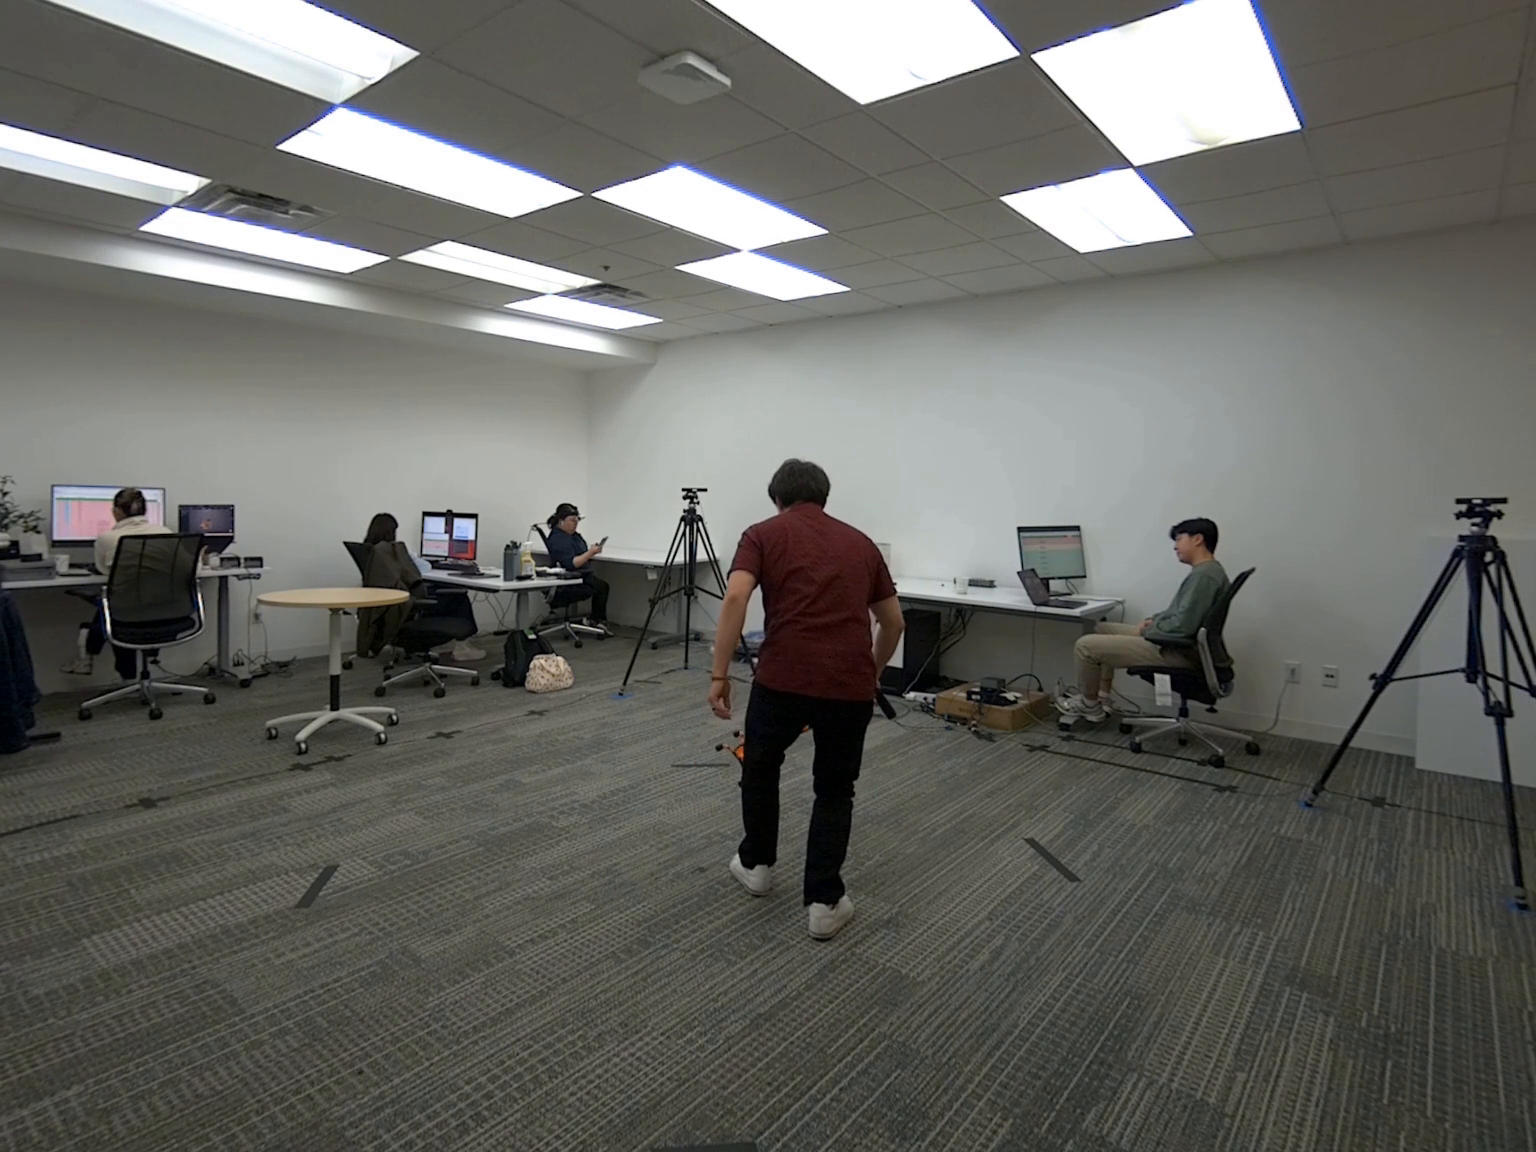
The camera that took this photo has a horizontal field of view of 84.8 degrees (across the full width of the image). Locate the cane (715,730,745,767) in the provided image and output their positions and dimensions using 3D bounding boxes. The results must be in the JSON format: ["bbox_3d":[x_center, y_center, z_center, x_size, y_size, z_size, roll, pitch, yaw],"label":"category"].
[{"bbox_3d":[0.124,0.597,3.357,0.150,0.207,0.914,-33,-2,-46],"label":"cane"}]
